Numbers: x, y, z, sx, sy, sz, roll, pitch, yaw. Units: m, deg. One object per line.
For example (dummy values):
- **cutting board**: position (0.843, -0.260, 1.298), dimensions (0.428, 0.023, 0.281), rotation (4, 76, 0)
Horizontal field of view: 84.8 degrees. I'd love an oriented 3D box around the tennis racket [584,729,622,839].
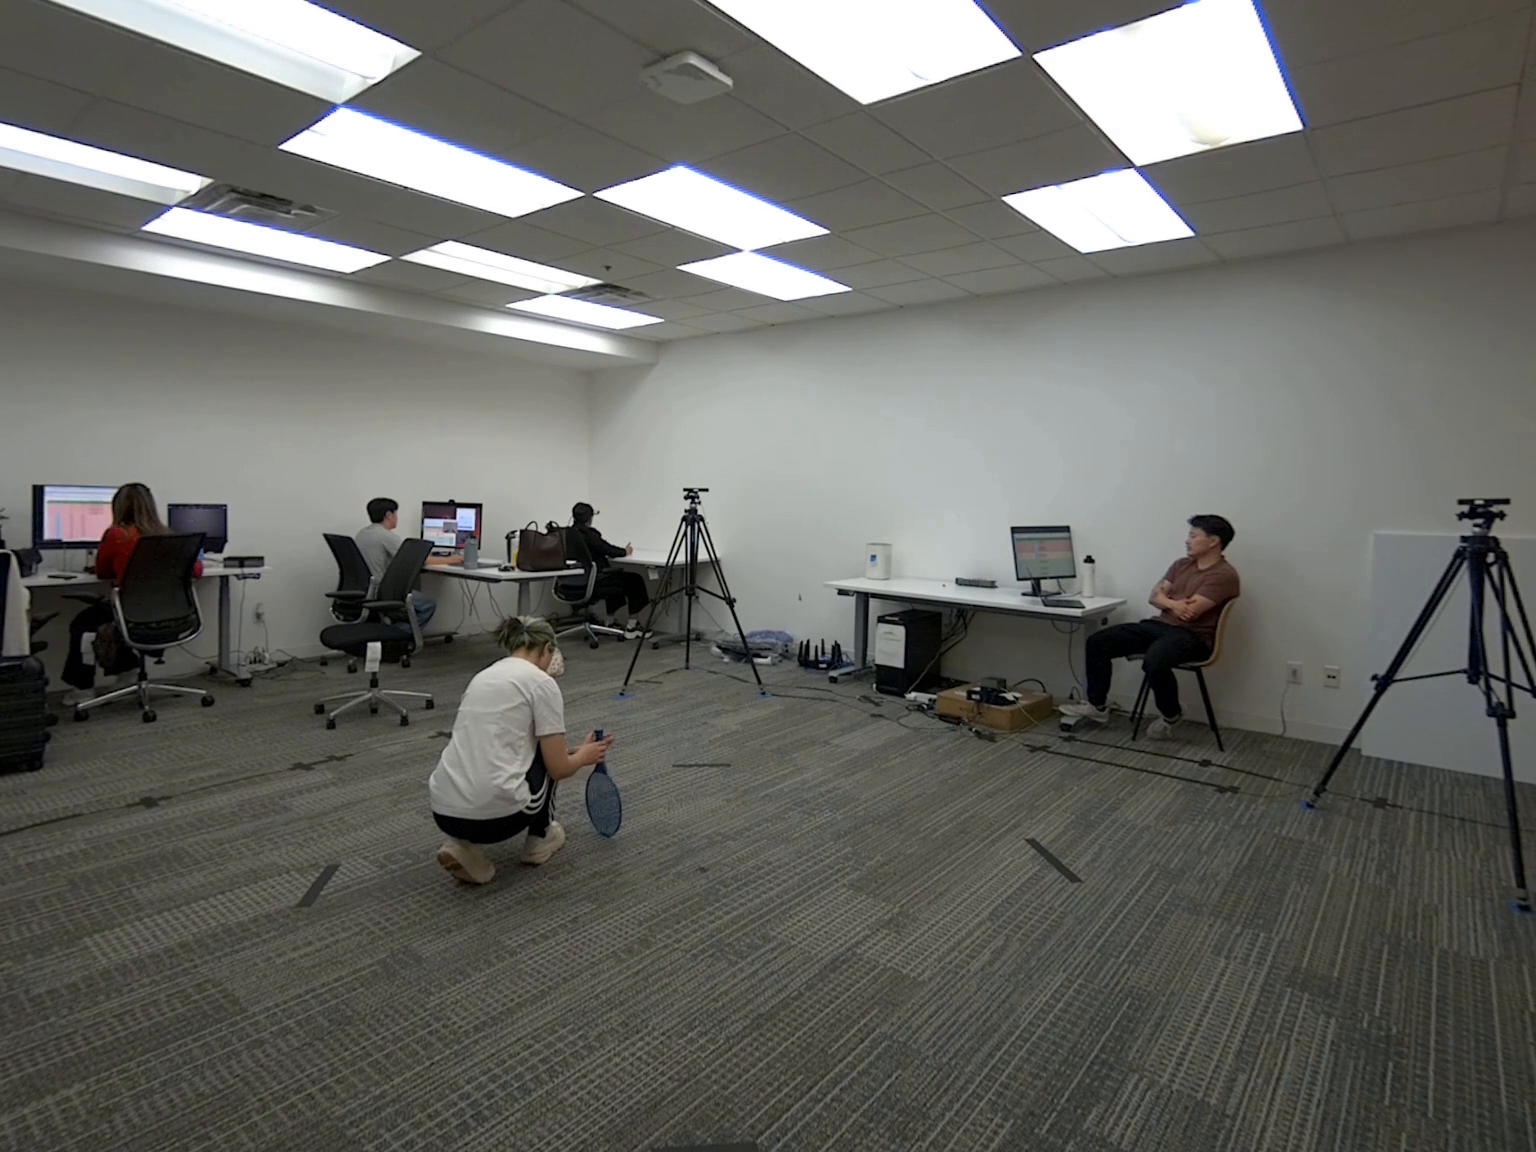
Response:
- **tennis racket**: position (-0.674, 0.820, 3.384), dimensions (0.220, 0.432, 0.031), rotation (-1, 3, 38)
